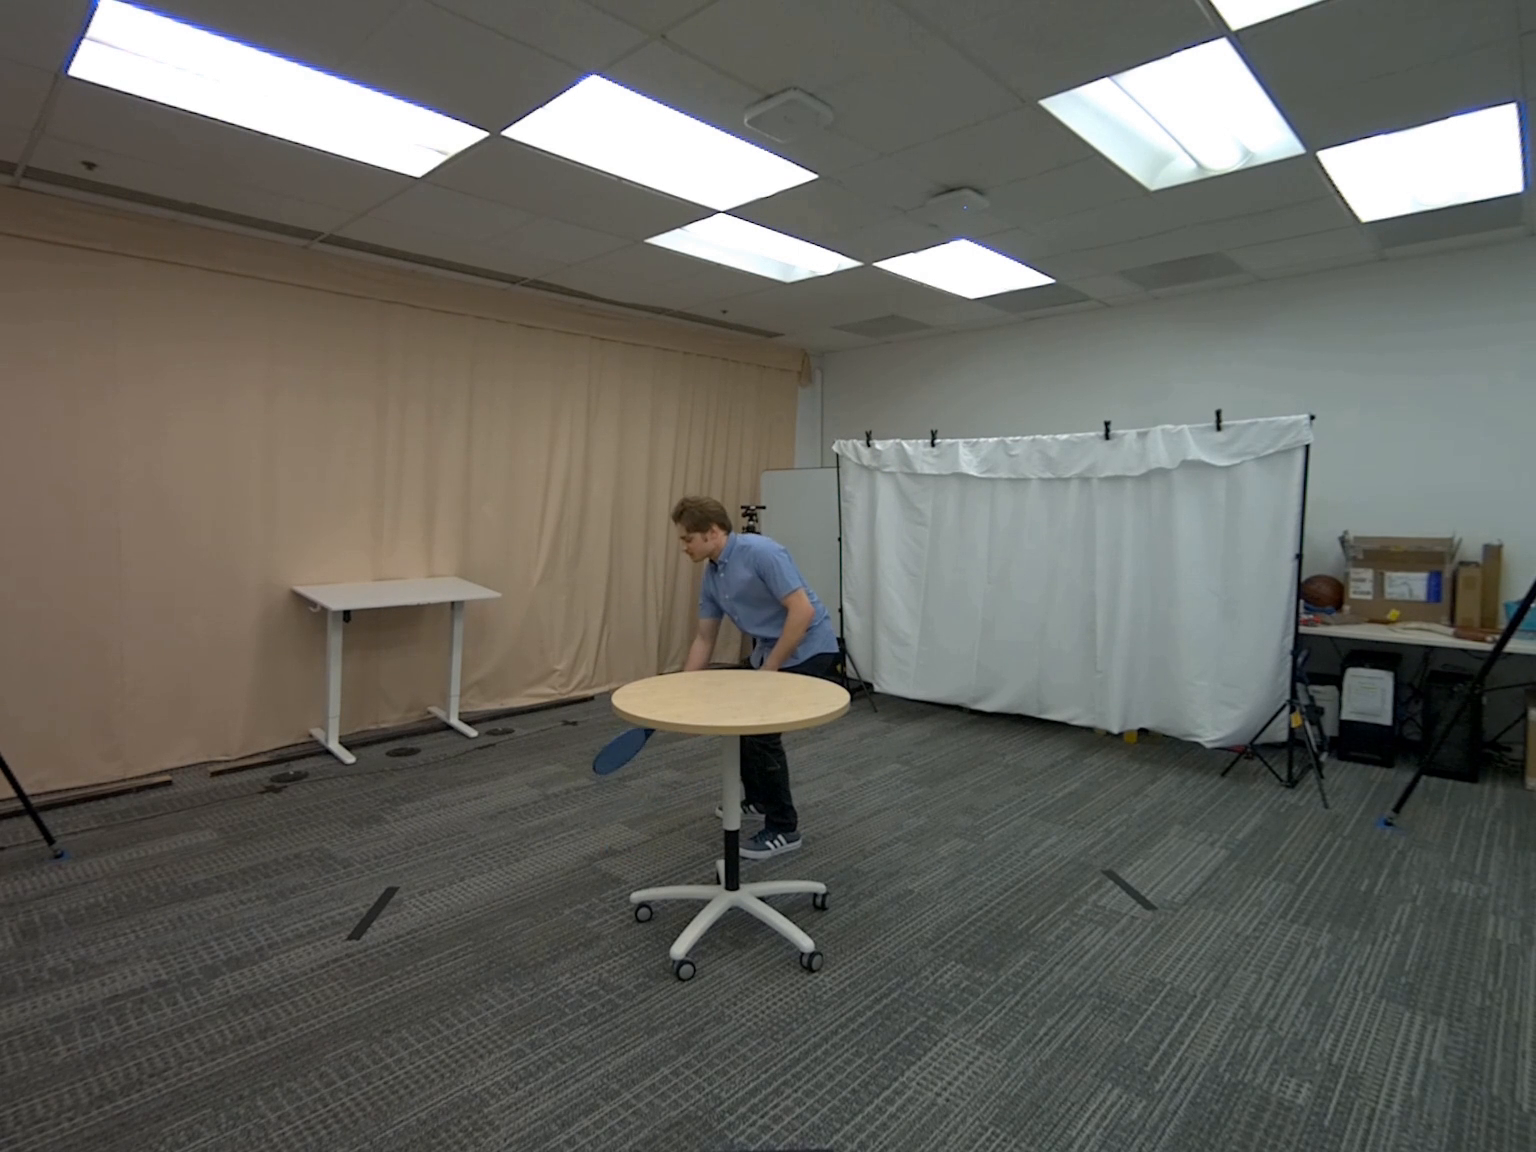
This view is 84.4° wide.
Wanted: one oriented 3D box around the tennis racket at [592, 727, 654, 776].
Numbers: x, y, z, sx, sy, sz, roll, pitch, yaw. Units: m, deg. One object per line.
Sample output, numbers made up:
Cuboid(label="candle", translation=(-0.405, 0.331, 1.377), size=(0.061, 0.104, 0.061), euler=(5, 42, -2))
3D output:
Cuboid(label="tennis racket", translation=(-0.529, 0.666, 3.437), size=(0.425, 0.210, 0.033), euler=(-28, 53, -33))
